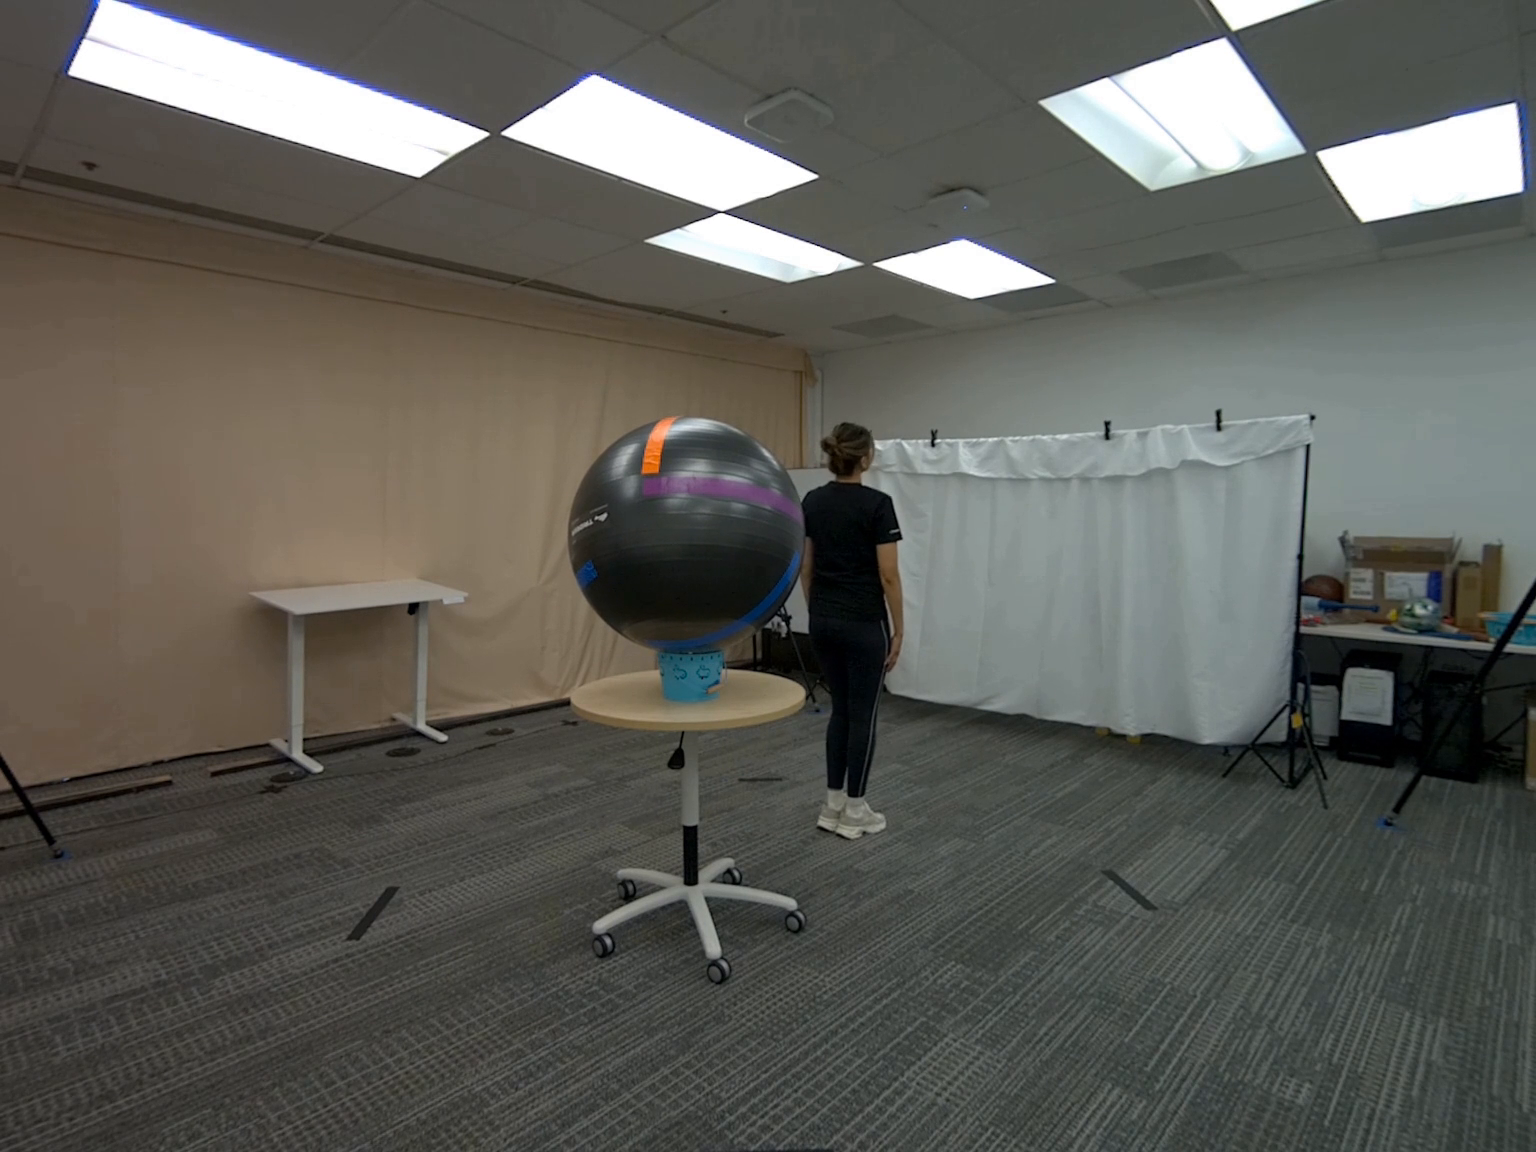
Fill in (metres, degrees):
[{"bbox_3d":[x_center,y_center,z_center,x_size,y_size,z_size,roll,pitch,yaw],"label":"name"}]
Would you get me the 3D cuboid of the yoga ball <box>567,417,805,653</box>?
[{"bbox_3d":[-0.260,-0.123,2.686,0.757,0.756,0.761,0,4,-2],"label":"yoga ball"}]
